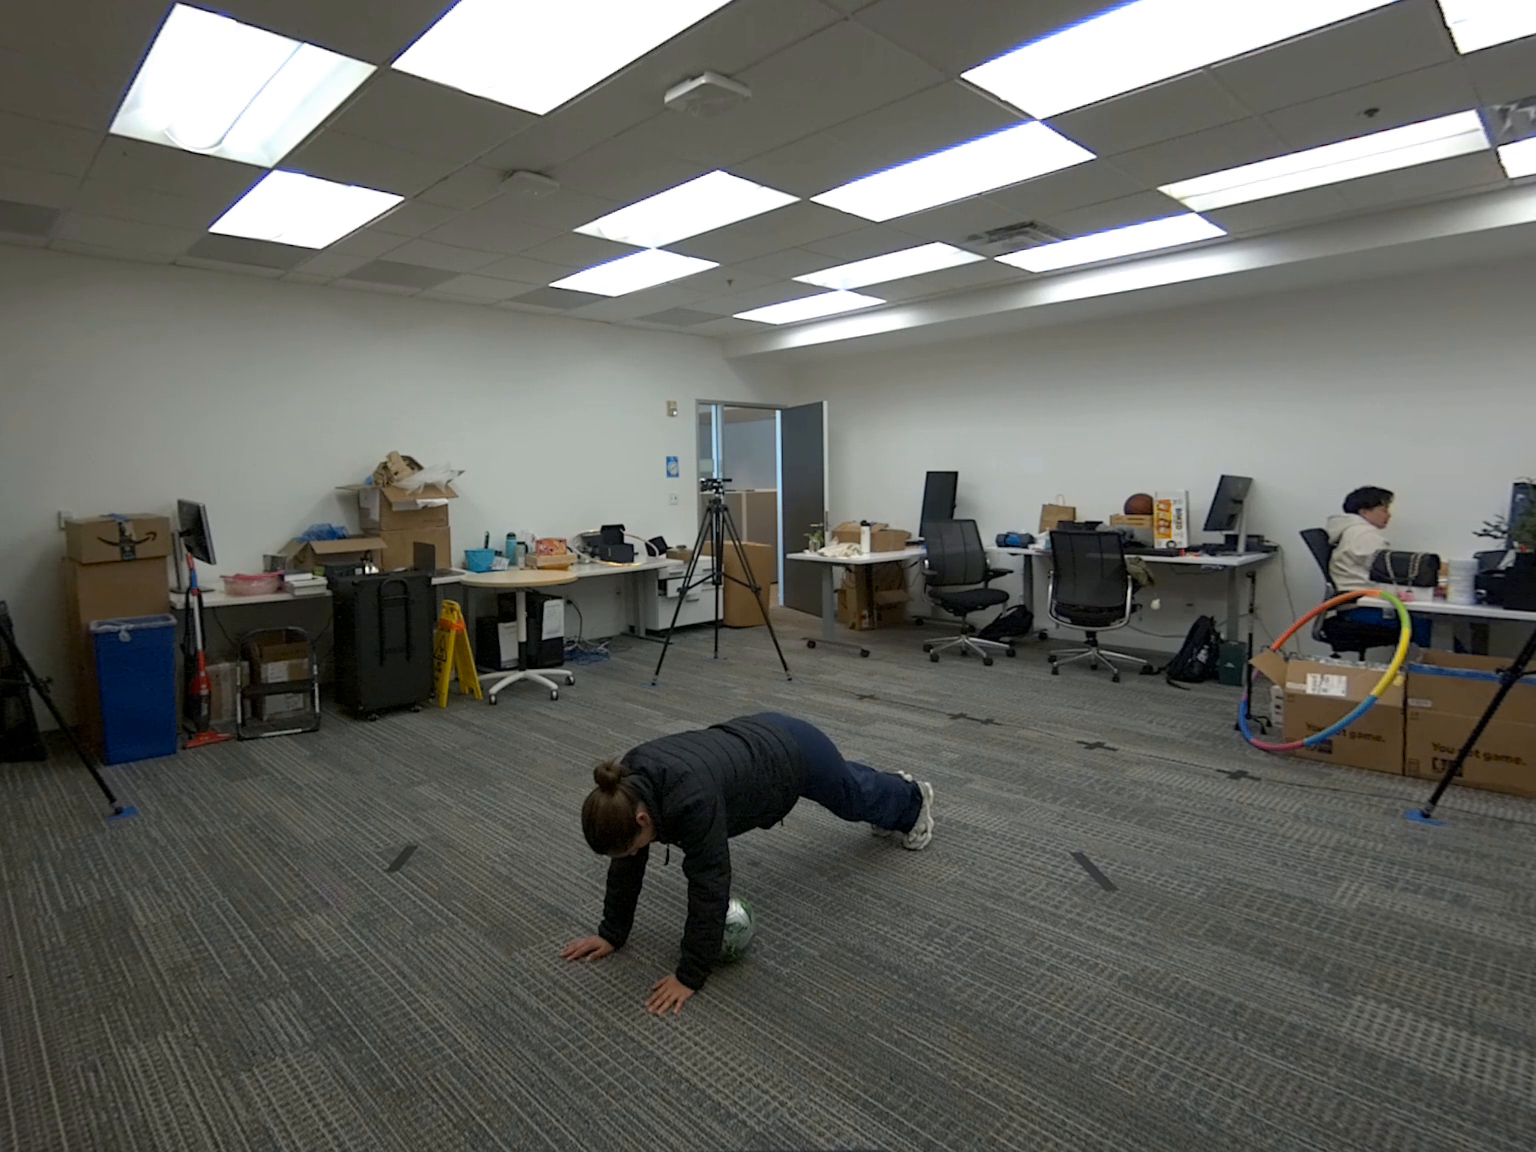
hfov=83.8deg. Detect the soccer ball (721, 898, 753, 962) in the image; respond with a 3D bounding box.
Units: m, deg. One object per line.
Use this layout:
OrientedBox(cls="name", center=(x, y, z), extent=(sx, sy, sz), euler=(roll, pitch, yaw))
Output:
OrientedBox(cls="soccer ball", center=(-0.121, 1.022, 2.496), extent=(0.187, 0.187, 0.188), euler=(-1, 5, -2))
